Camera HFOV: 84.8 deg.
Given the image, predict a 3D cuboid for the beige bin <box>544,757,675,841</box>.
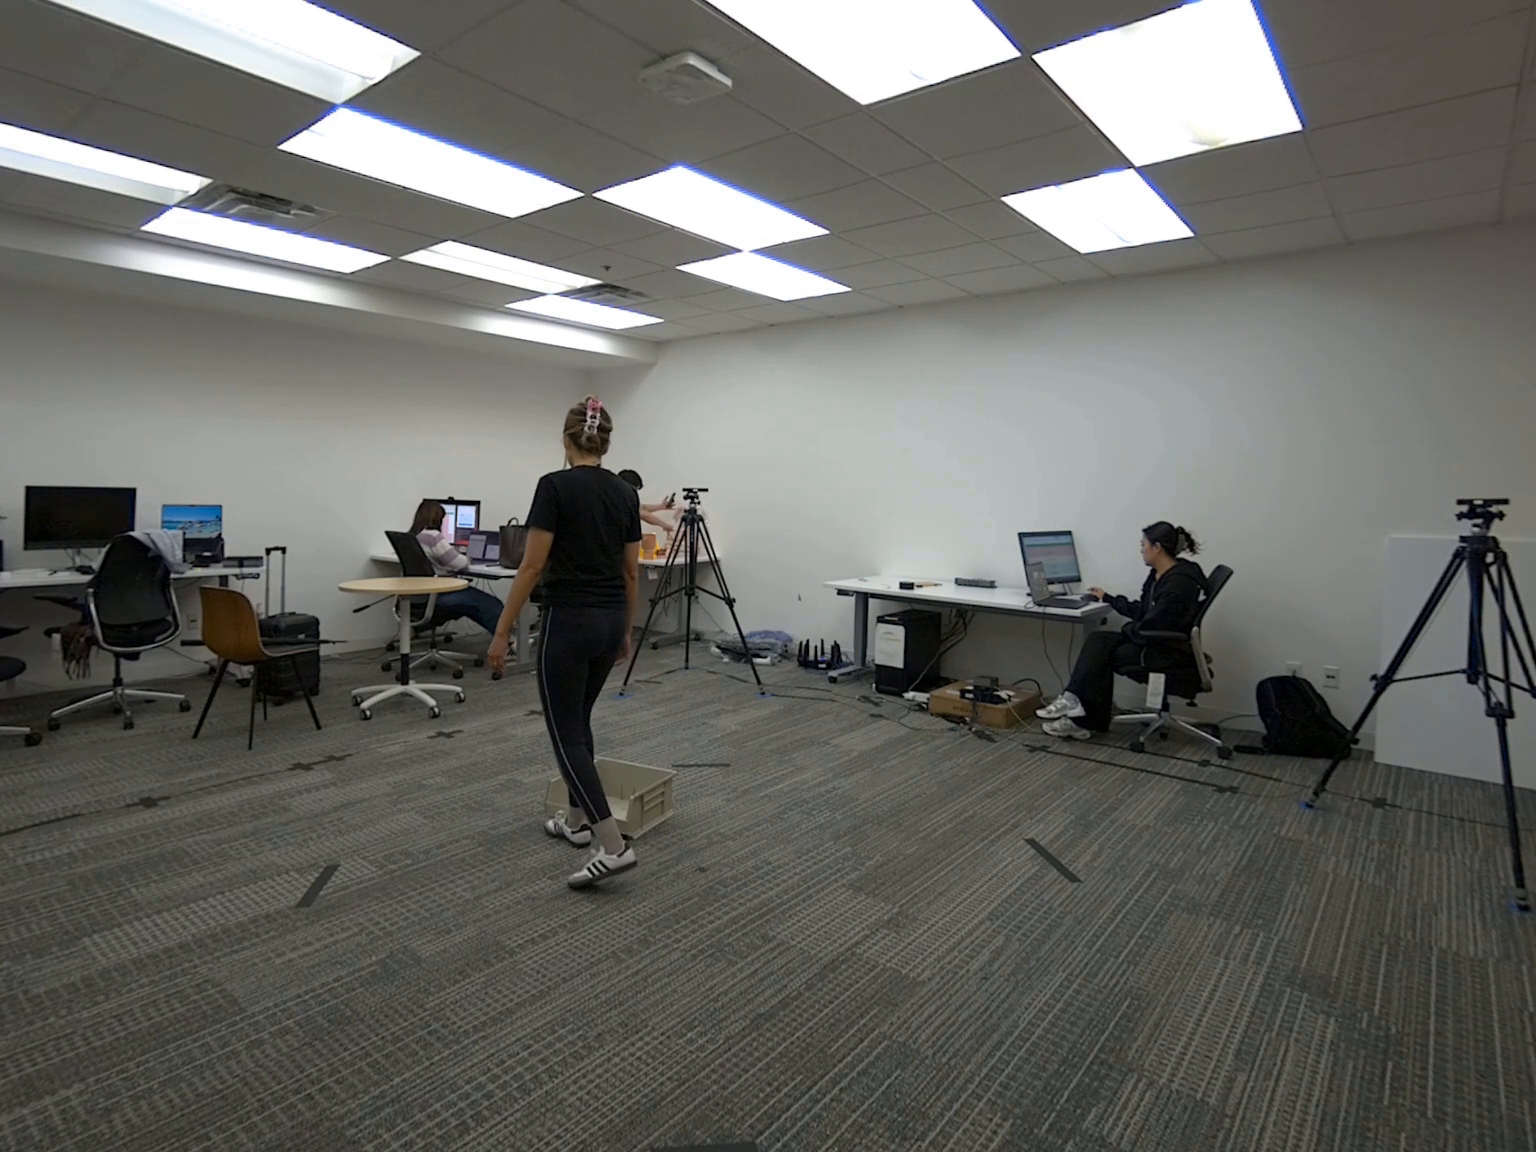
[{"bbox_3d":[-0.669,0.929,3.578,0.434,0.188,0.368,3,4,26],"label":"beige bin"}]
